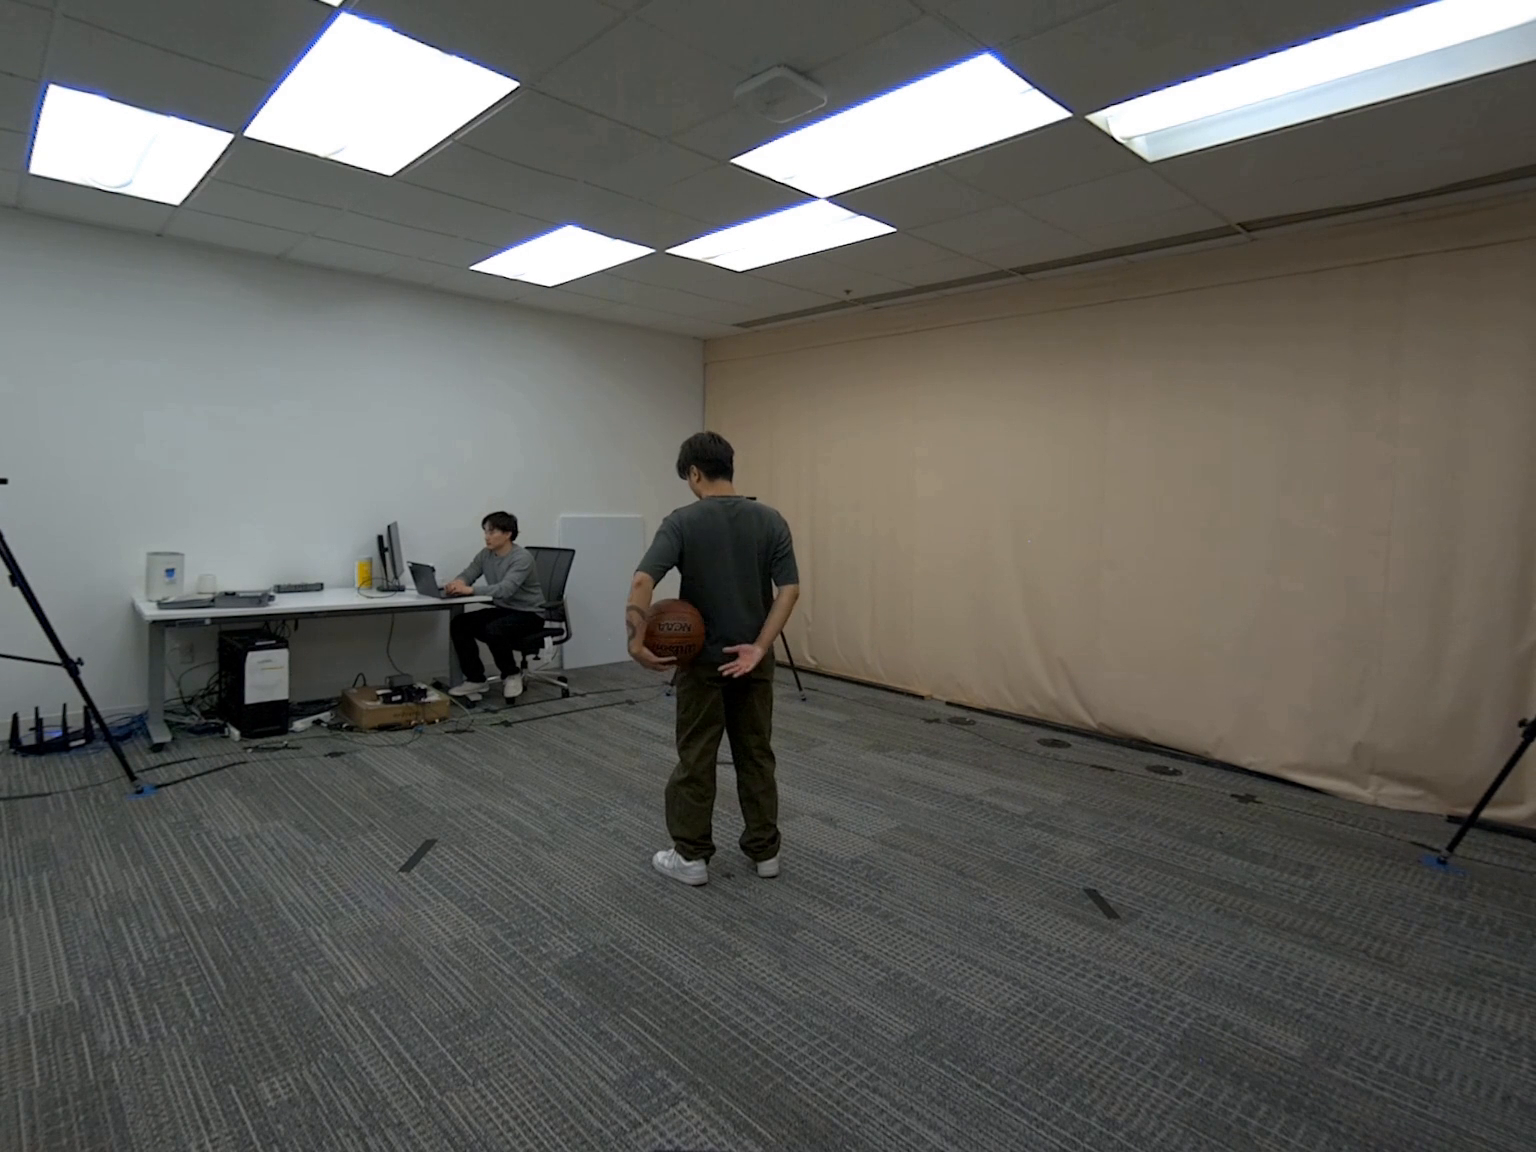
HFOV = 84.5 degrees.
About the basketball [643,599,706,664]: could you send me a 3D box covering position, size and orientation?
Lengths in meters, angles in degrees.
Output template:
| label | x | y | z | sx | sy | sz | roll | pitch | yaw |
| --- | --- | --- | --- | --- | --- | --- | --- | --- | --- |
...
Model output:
| label | x | y | z | sx | sy | sz | roll | pitch | yaw |
| --- | --- | --- | --- | --- | --- | --- | --- | --- | --- |
| basketball | -0.347 | 0.199 | 2.966 | 0.236 | 0.235 | 0.237 | 1 | 4 | -1 |
